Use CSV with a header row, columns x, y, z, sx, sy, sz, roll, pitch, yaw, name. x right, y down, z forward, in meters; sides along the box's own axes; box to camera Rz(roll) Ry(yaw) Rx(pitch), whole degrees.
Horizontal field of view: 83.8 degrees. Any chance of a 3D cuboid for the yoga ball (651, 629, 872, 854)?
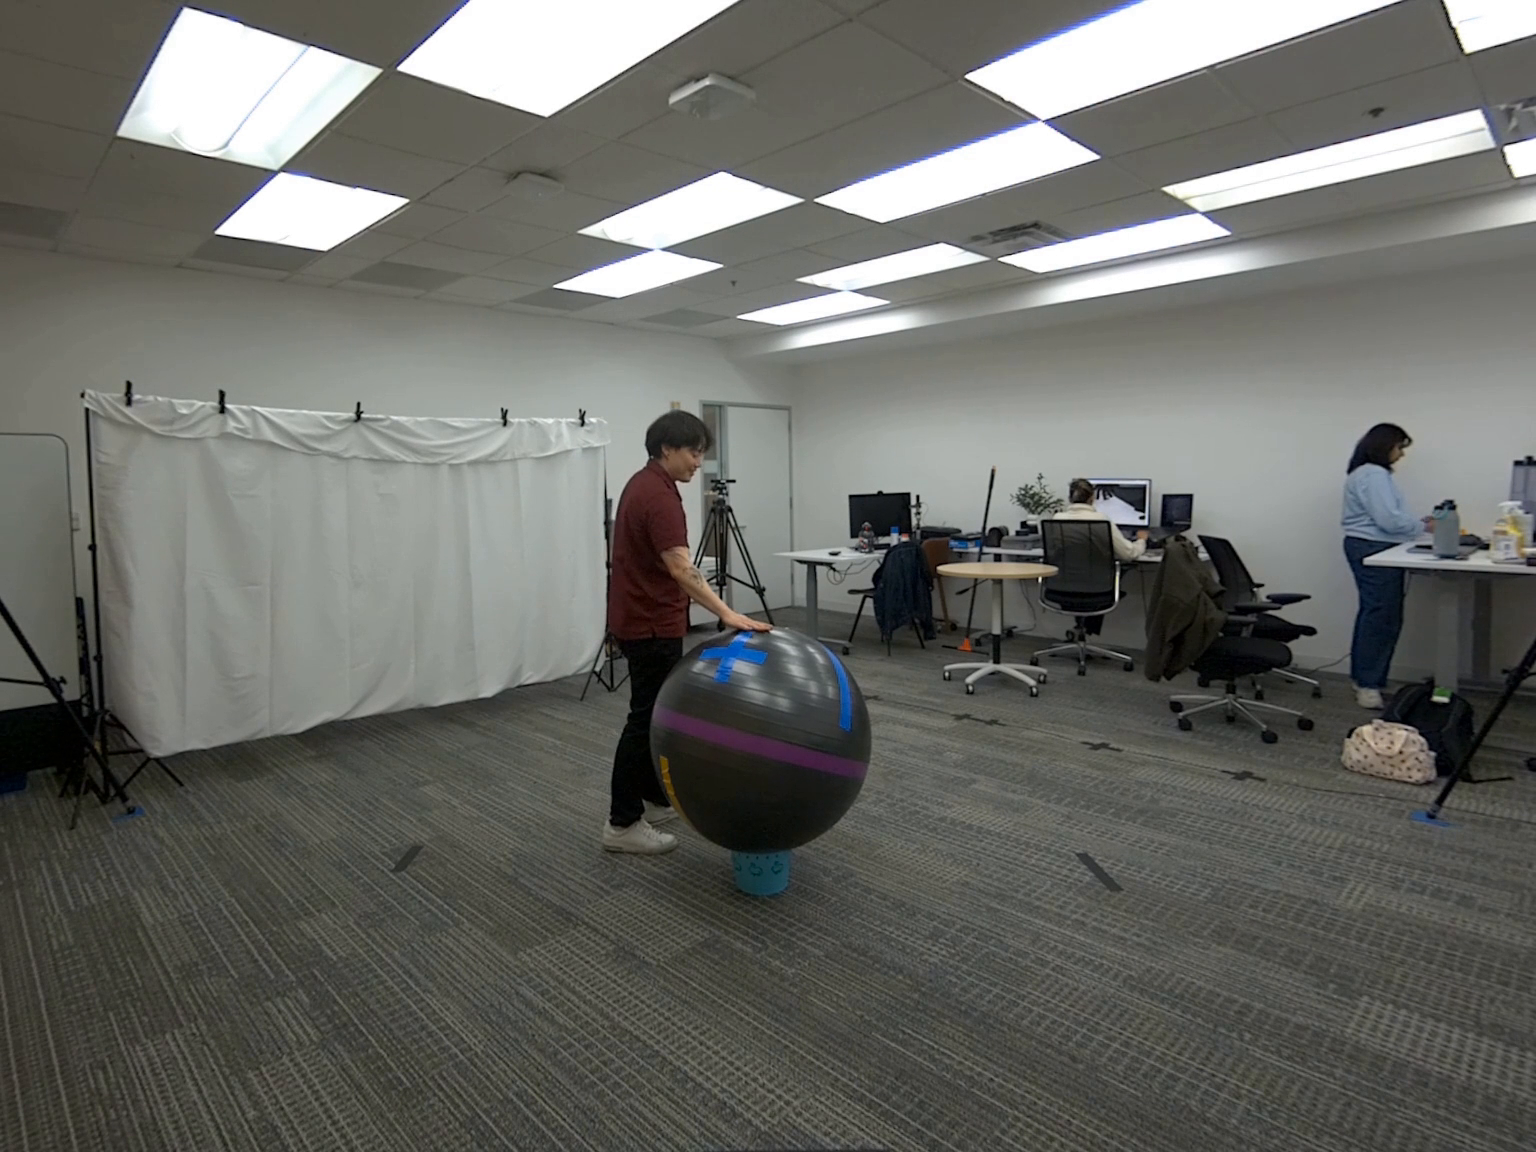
x,y,z,sx,sy,sz,roll,pitch,yaw,name
-0.021,0.557,2.944,0.757,0.755,0.762,-1,5,-2,yoga ball
